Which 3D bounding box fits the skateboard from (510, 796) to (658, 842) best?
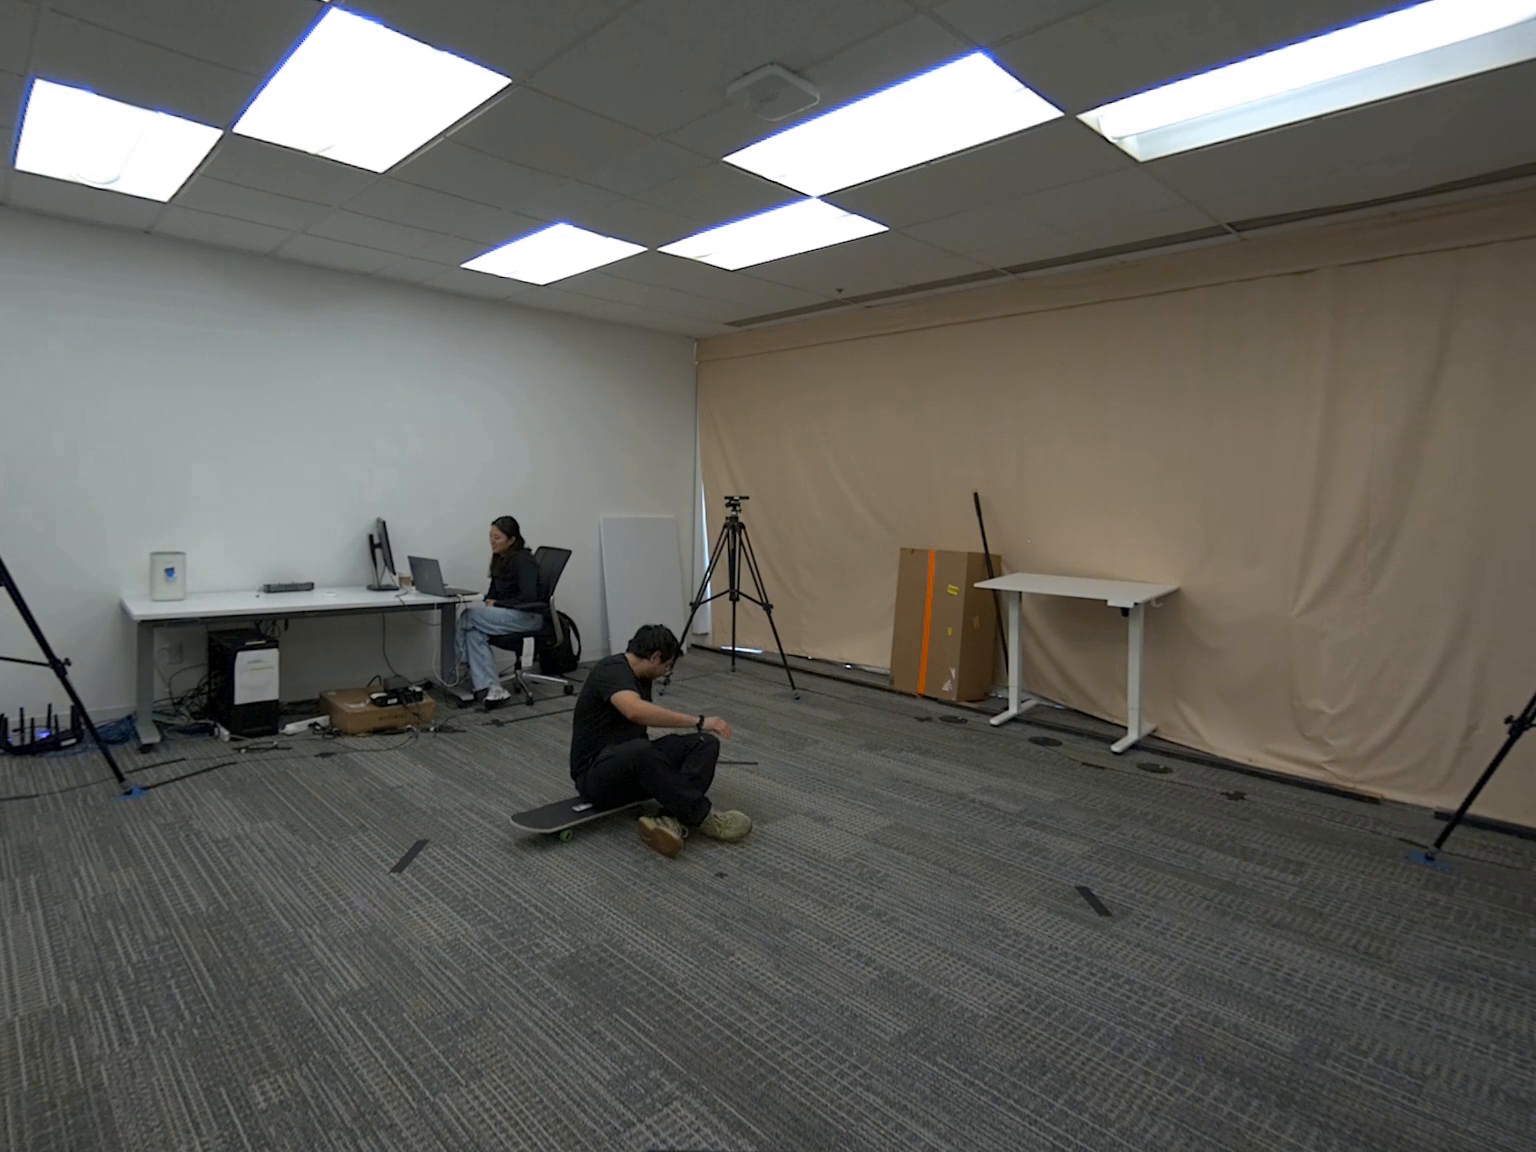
[{"bbox_3d":[-0.747,0.993,3.565,0.199,0.110,0.767,10,8,42],"label":"skateboard"}]
